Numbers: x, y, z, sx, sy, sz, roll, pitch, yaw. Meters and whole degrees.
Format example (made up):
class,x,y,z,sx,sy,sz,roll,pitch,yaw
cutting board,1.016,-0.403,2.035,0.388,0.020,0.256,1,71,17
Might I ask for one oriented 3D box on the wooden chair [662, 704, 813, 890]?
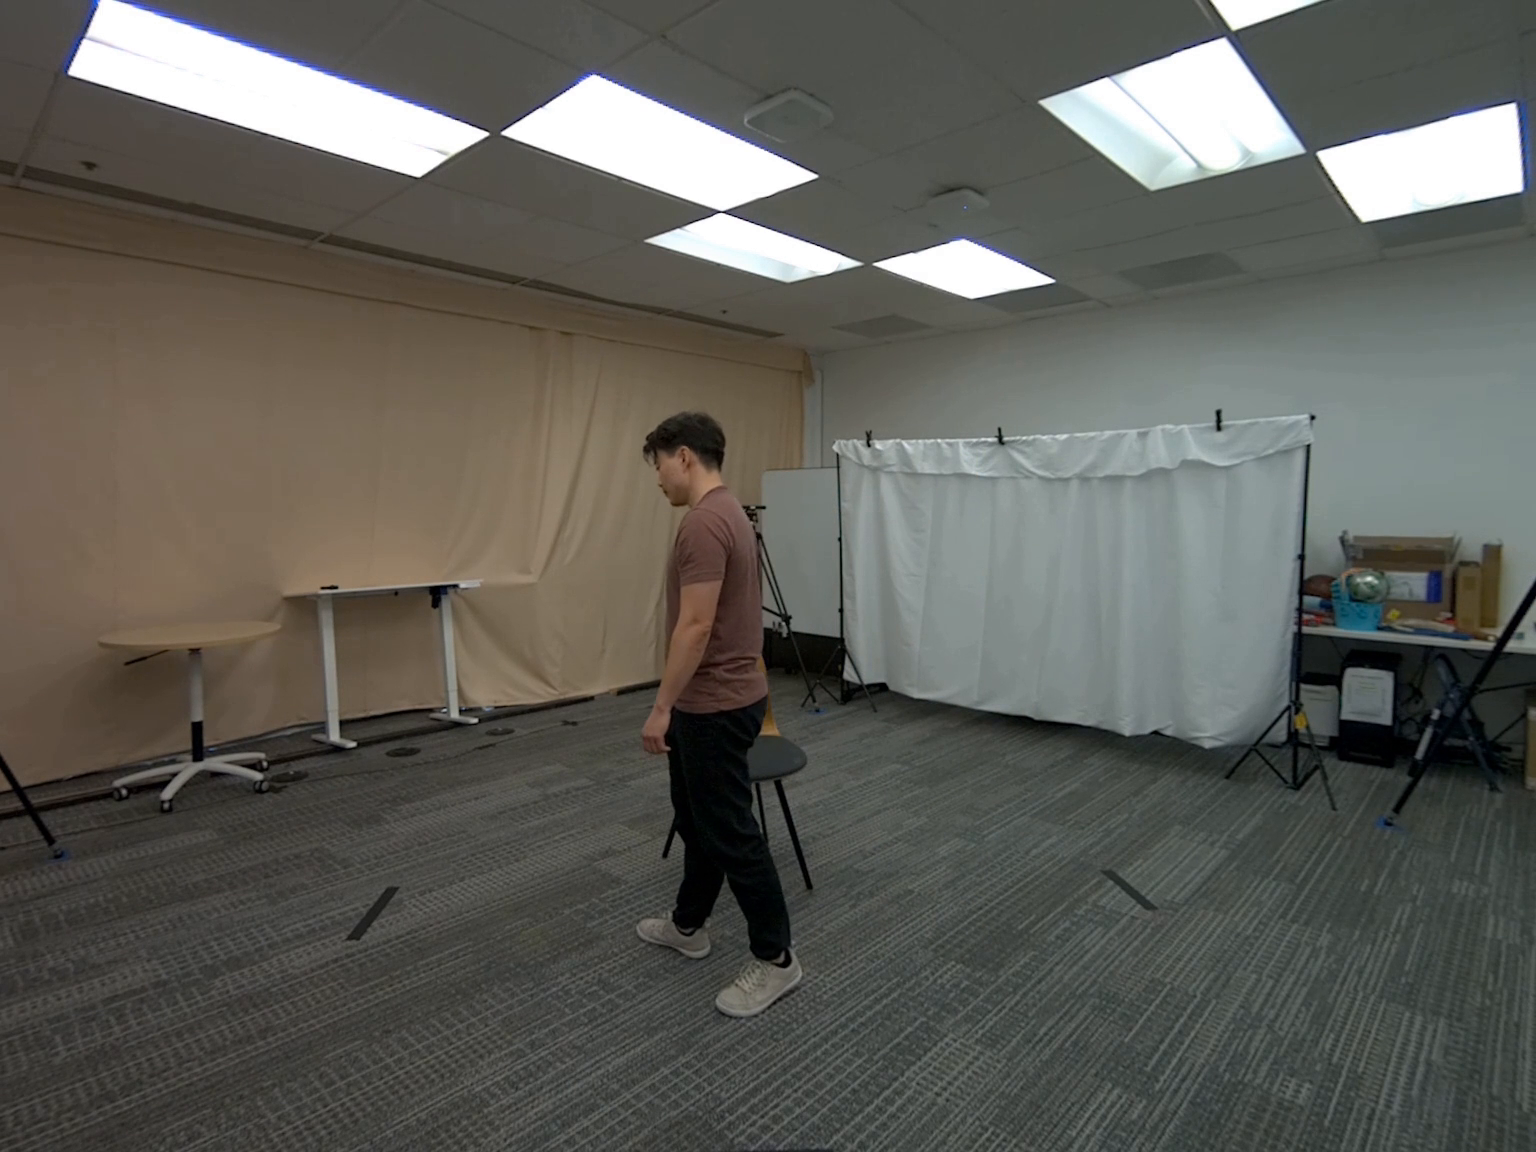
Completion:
class,x,y,z,sx,sy,sz,roll,pitch,yaw
wooden chair,-0.126,0.702,3.158,0.469,0.878,0.533,-1,-1,-19
